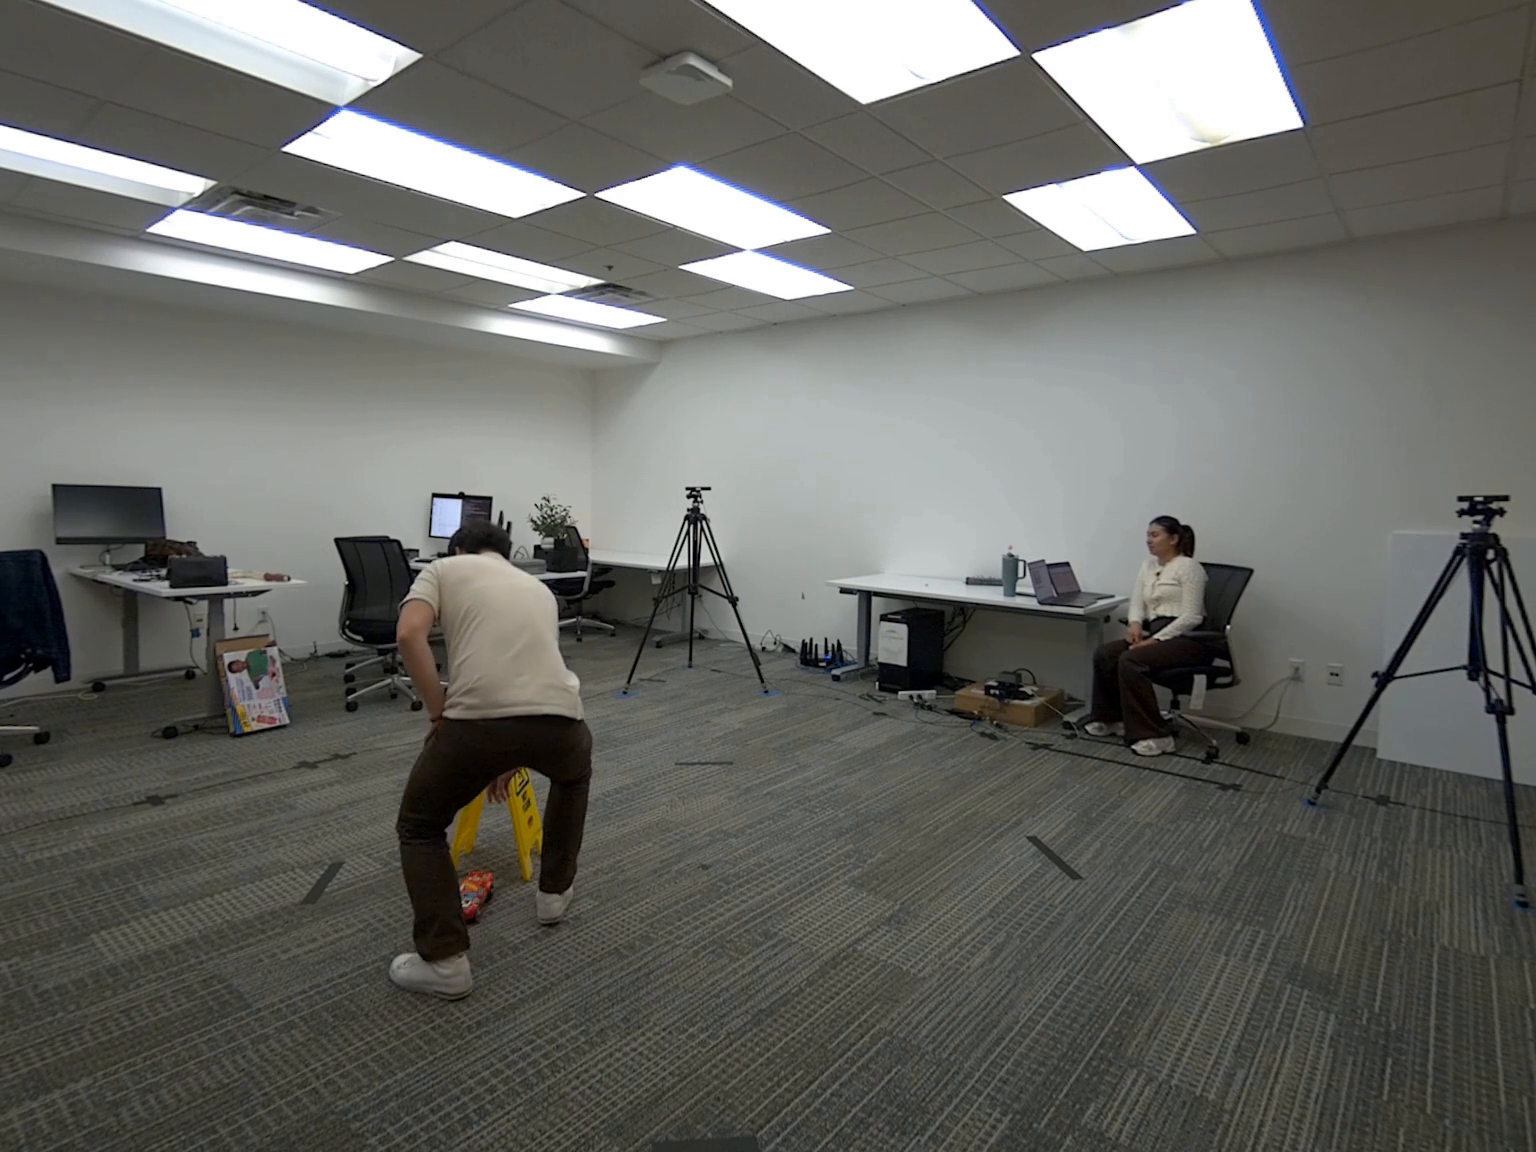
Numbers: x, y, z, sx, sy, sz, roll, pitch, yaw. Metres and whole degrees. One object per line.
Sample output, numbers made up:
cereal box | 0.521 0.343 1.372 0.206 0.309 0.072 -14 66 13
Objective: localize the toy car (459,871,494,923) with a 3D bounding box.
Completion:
toy car | -0.992 1.054 2.804 0.130 0.082 0.258 0 17 0
